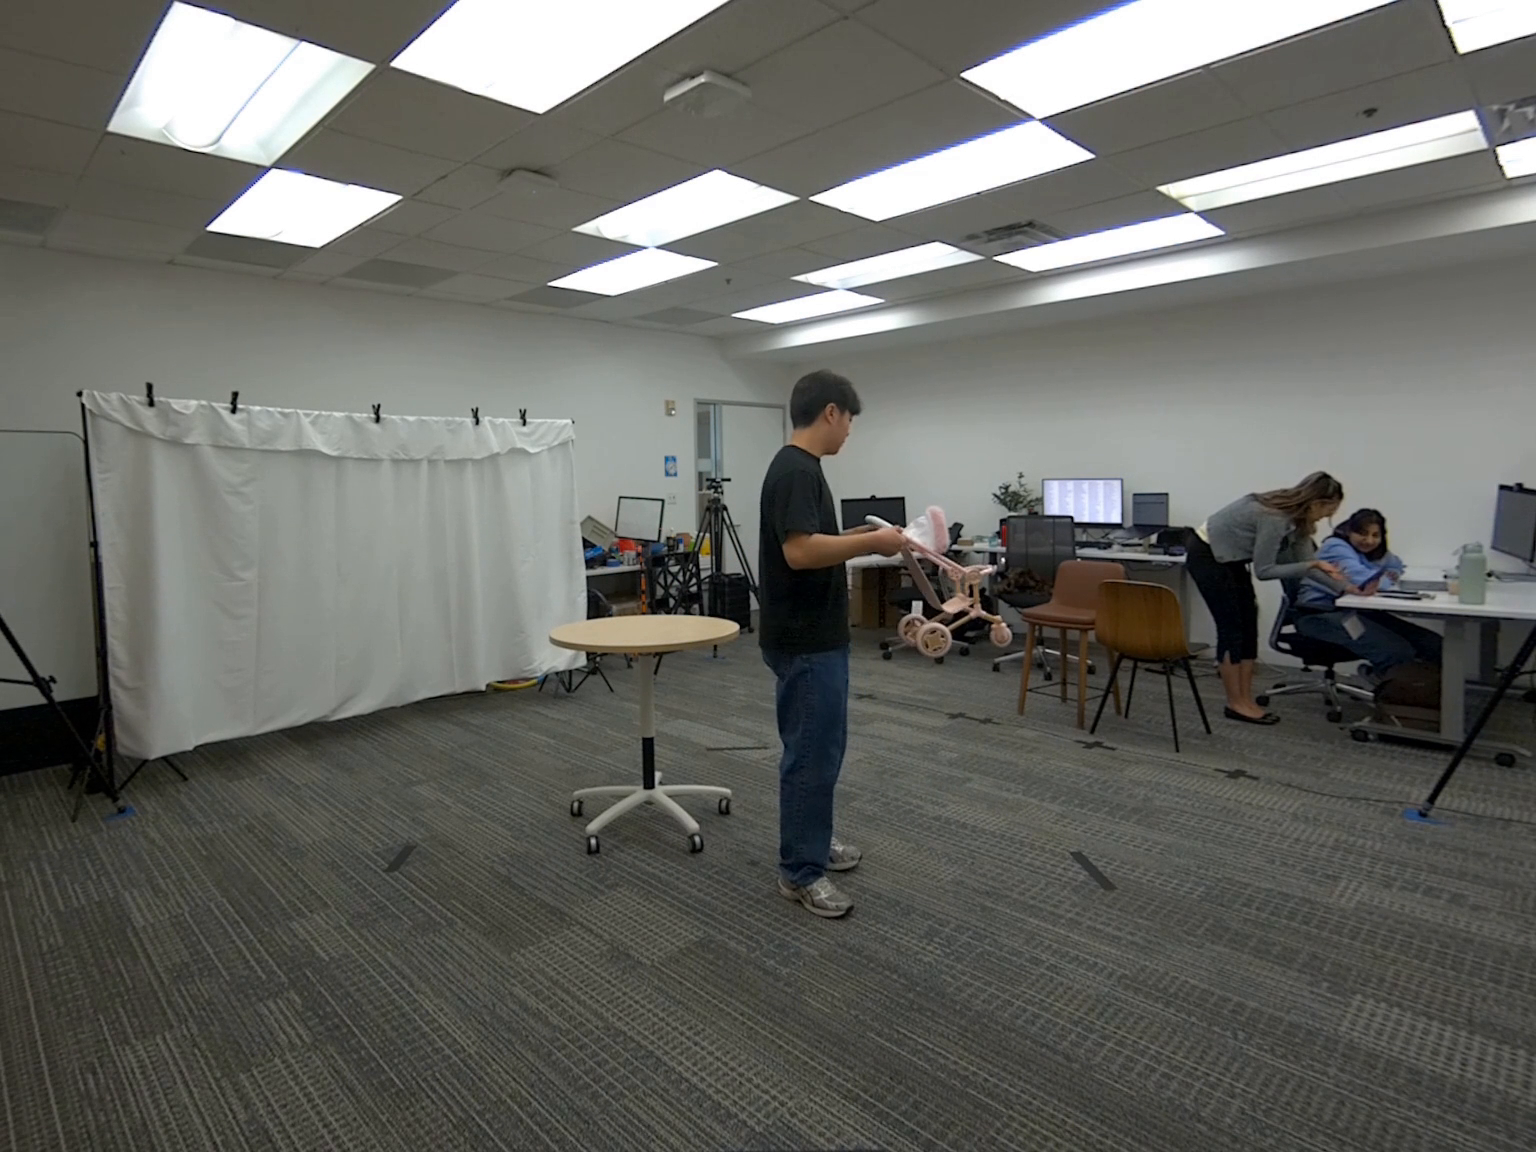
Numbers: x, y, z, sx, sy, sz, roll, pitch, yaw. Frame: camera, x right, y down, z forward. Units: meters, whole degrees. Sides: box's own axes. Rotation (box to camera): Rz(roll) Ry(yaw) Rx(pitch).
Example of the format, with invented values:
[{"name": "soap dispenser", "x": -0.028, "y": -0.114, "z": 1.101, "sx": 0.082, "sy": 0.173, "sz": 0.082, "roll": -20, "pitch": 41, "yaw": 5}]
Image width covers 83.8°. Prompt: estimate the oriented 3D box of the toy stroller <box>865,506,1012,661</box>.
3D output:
[{"name": "toy stroller", "x": 0.561, "y": 0.015, "z": 2.757, "sx": 0.342, "sy": 0.535, "sz": 0.281, "roll": -17, "pitch": 1, "yaw": 3}]
